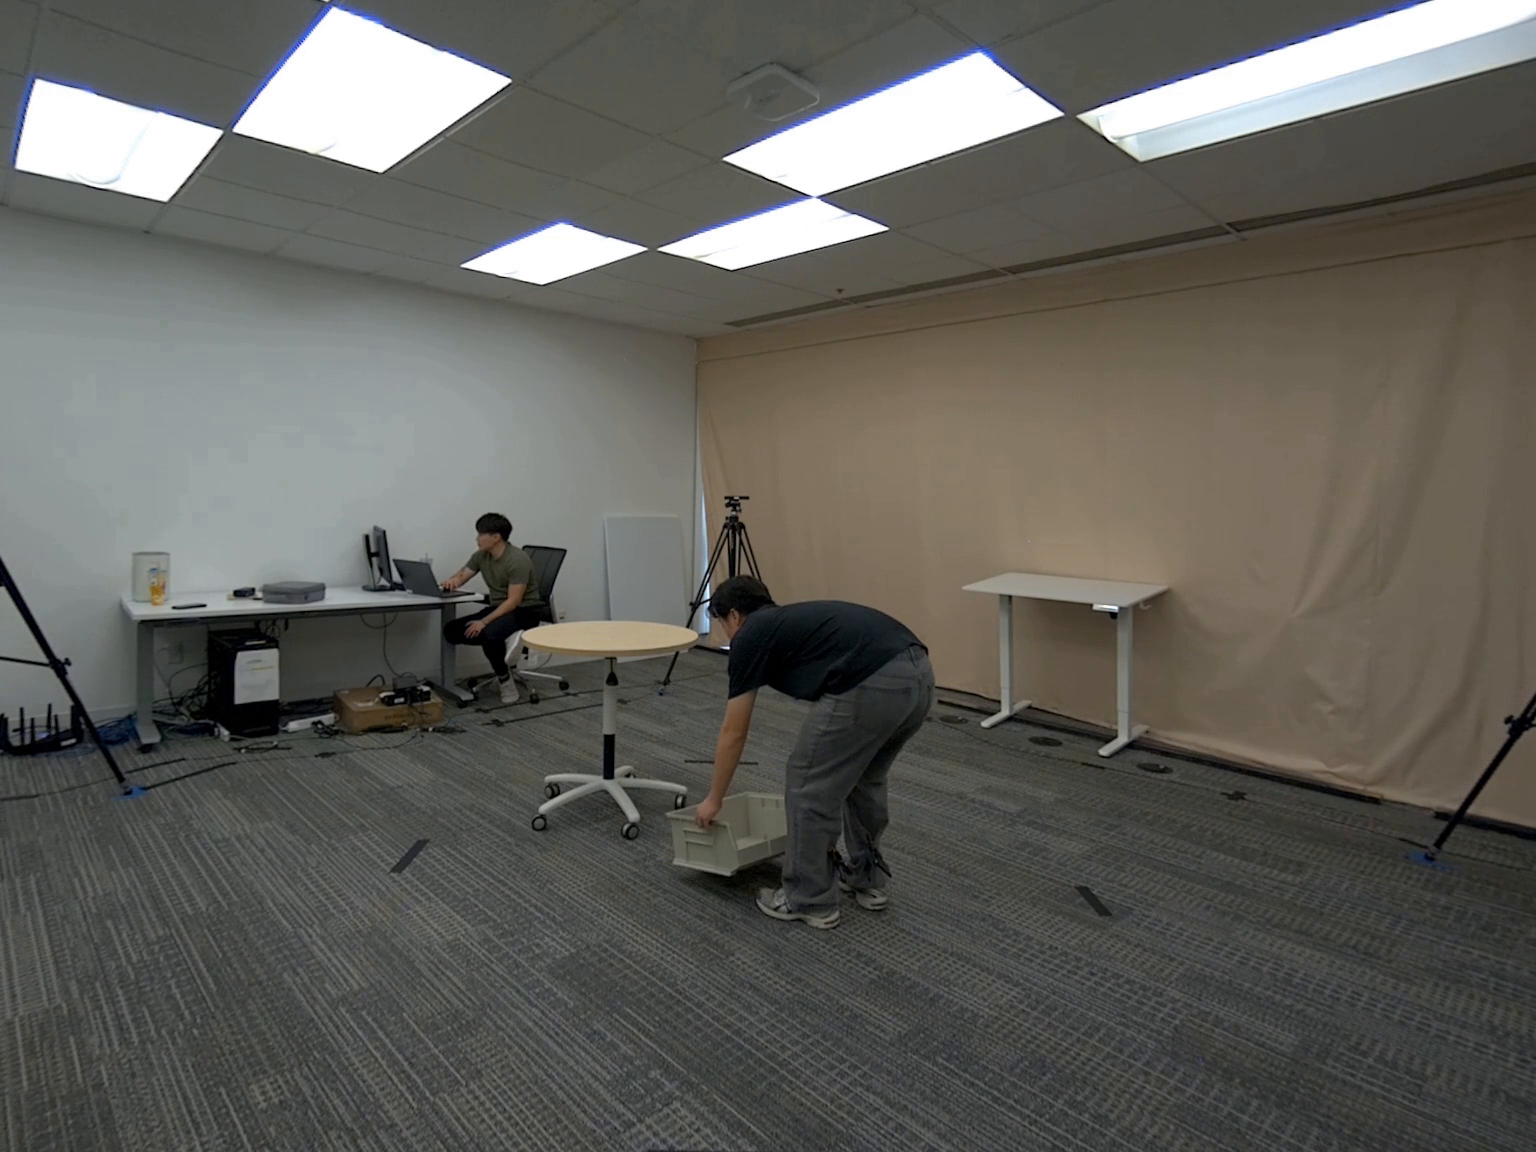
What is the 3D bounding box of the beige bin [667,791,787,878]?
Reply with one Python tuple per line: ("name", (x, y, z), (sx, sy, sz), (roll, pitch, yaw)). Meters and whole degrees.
("beige bin", (-0.093, 0.934, 3.075), (0.412, 0.190, 0.384), (-2, -7, -43))
